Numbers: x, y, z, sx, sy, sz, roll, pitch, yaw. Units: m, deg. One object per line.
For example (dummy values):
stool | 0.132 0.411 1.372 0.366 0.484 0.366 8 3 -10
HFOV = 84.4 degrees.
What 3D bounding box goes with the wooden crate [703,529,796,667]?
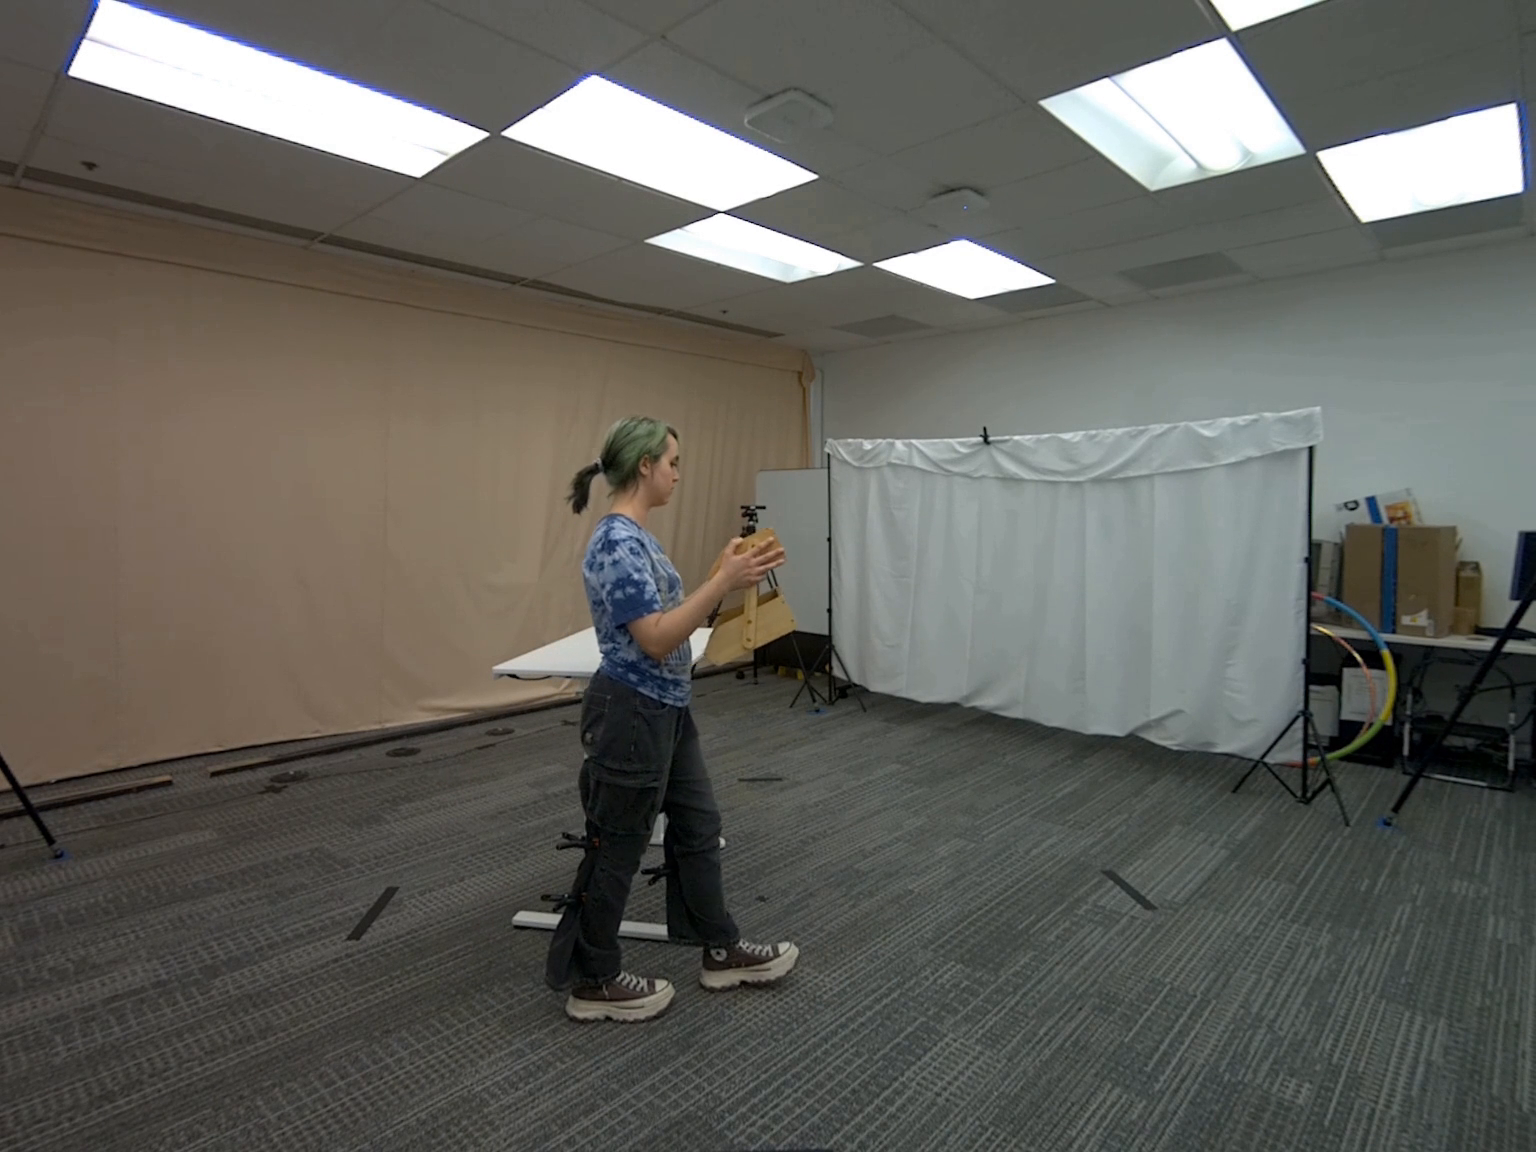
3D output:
wooden crate | -0.066 0.048 2.286 0.302 0.273 0.324 -25 2 2
